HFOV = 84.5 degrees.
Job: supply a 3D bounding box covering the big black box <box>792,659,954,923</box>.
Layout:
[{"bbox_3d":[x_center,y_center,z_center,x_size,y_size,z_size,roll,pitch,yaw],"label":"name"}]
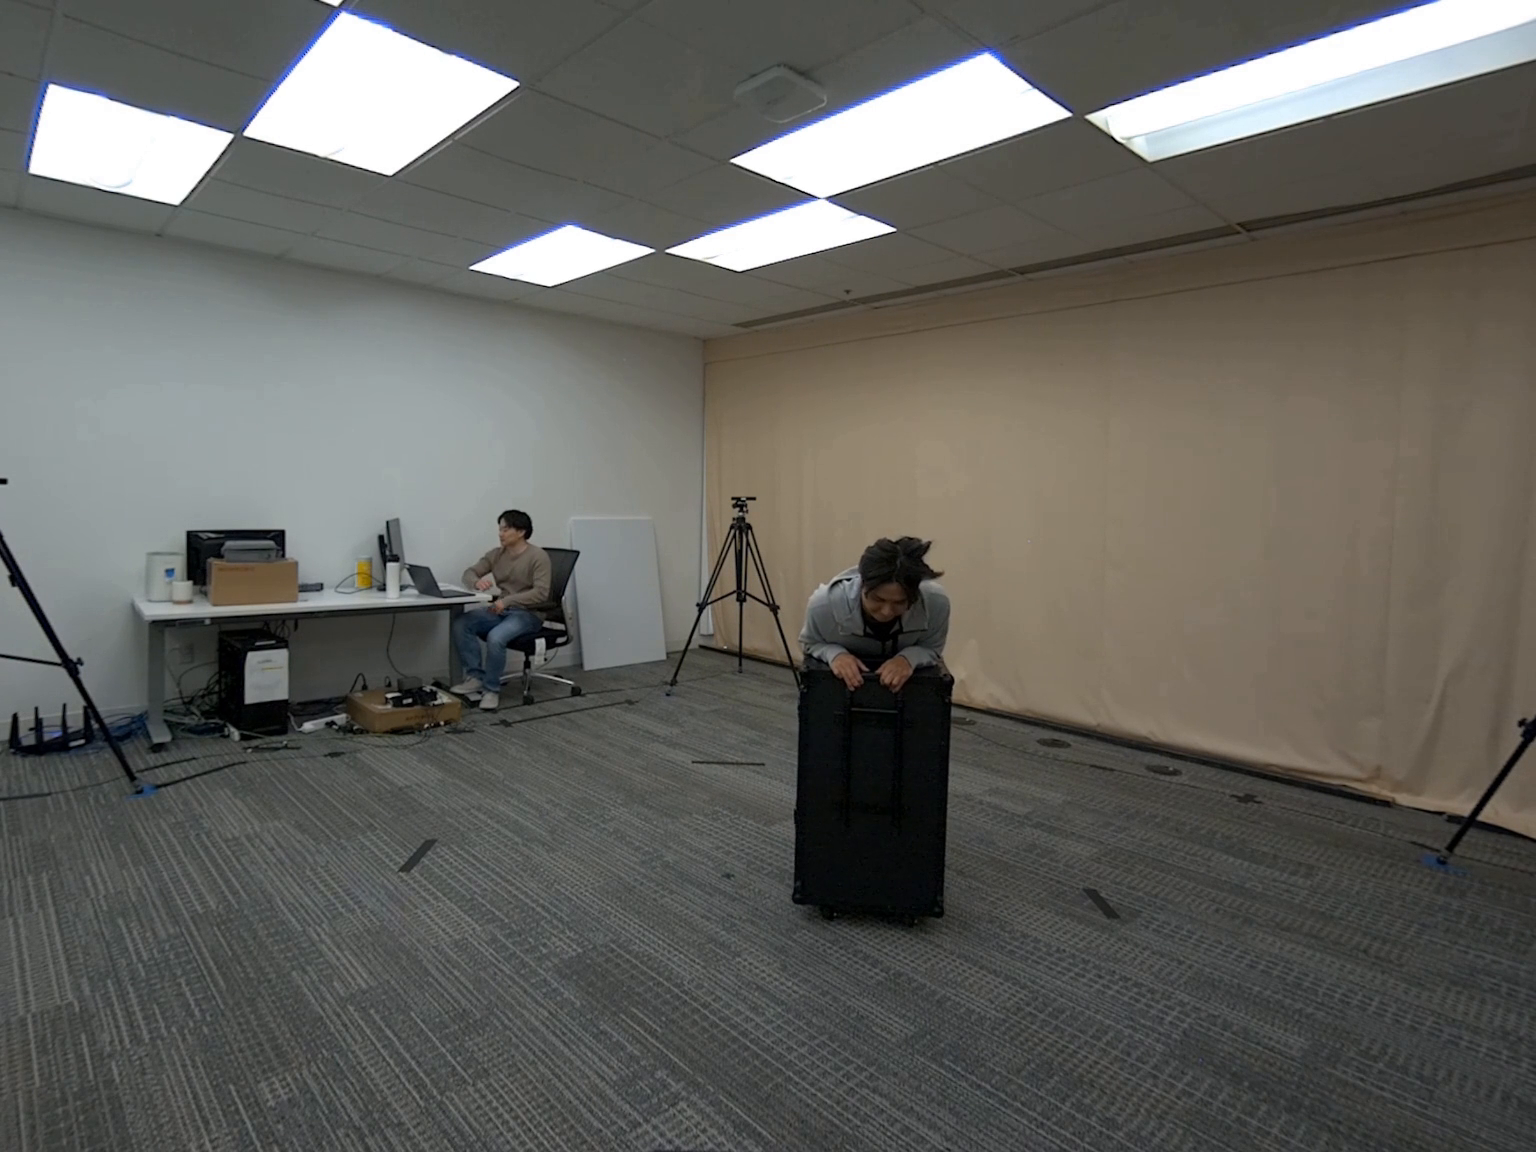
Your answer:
[{"bbox_3d":[0.348,0.722,2.863,0.525,0.859,0.394,2,3,7],"label":"big black box"}]
